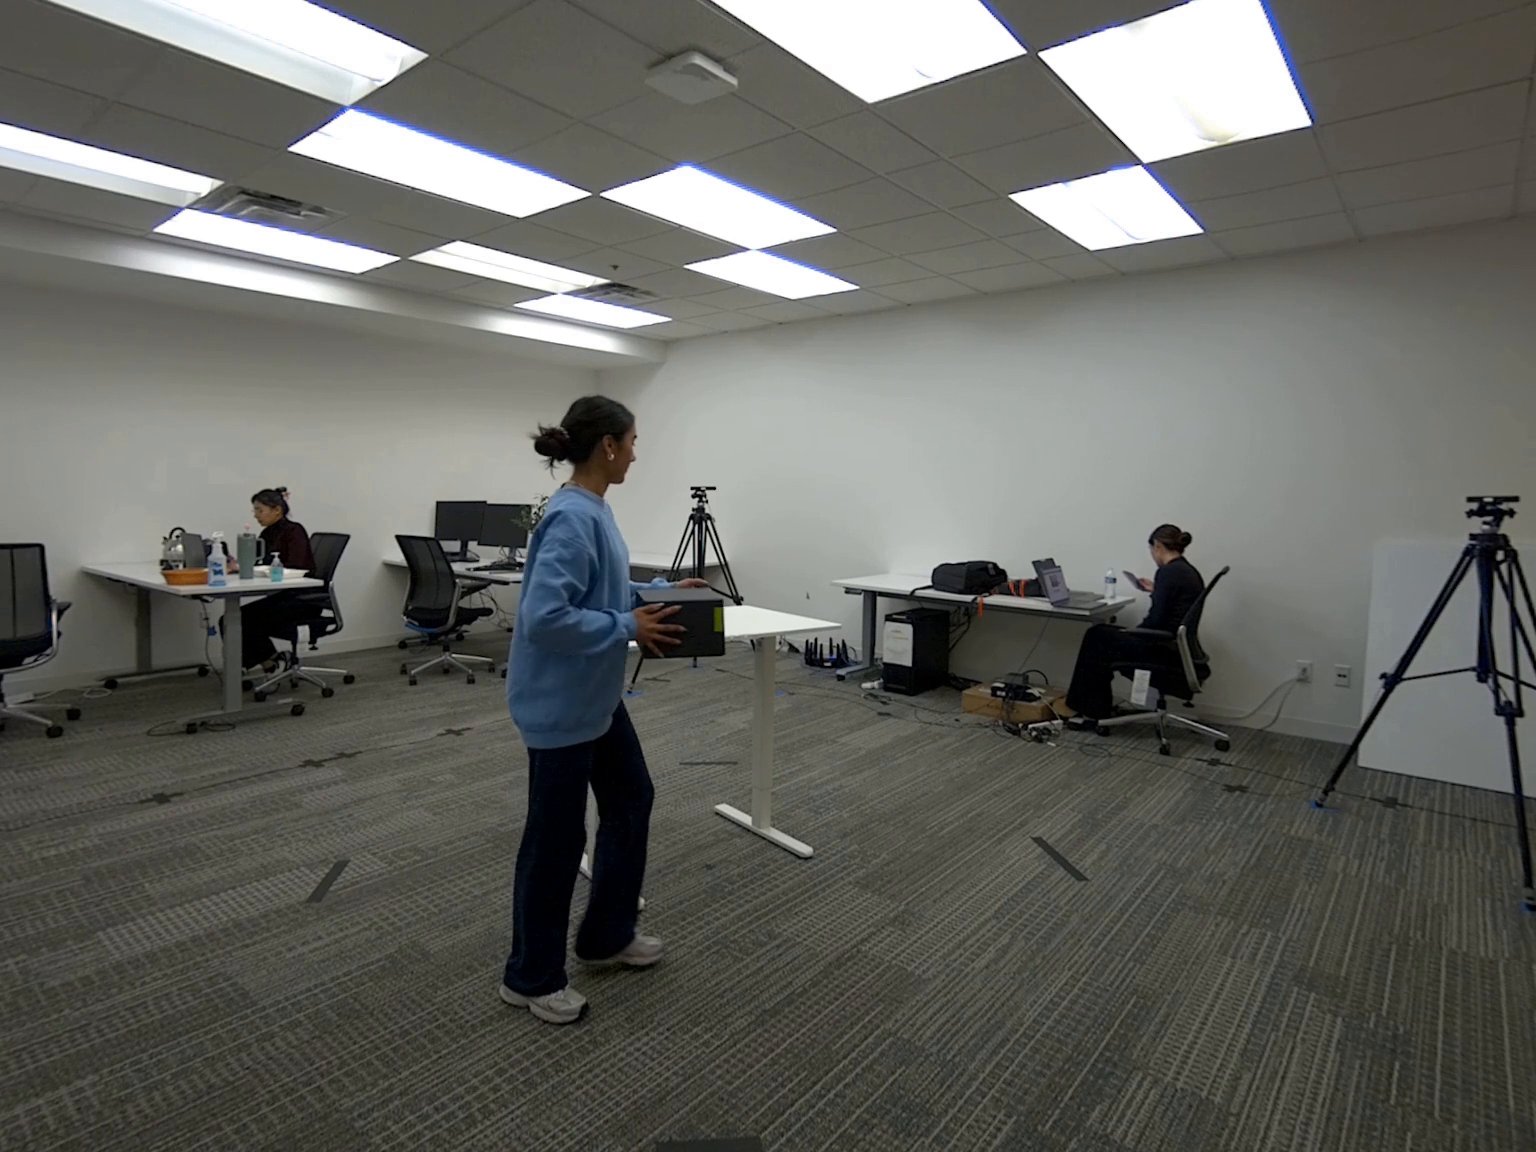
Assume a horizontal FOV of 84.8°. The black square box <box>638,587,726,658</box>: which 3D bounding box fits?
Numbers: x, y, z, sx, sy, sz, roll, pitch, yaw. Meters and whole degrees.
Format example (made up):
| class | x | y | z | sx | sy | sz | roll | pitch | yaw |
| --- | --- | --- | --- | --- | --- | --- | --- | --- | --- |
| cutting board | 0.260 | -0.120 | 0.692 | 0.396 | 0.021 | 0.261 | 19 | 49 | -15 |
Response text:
| class | x | y | z | sx | sy | sz | roll | pitch | yaw |
| --- | --- | --- | --- | --- | --- | --- | --- | --- | --- |
| black square box | -0.260 | 0.135 | 2.347 | 0.214 | 0.155 | 0.232 | -1 | 7 | -13 |
